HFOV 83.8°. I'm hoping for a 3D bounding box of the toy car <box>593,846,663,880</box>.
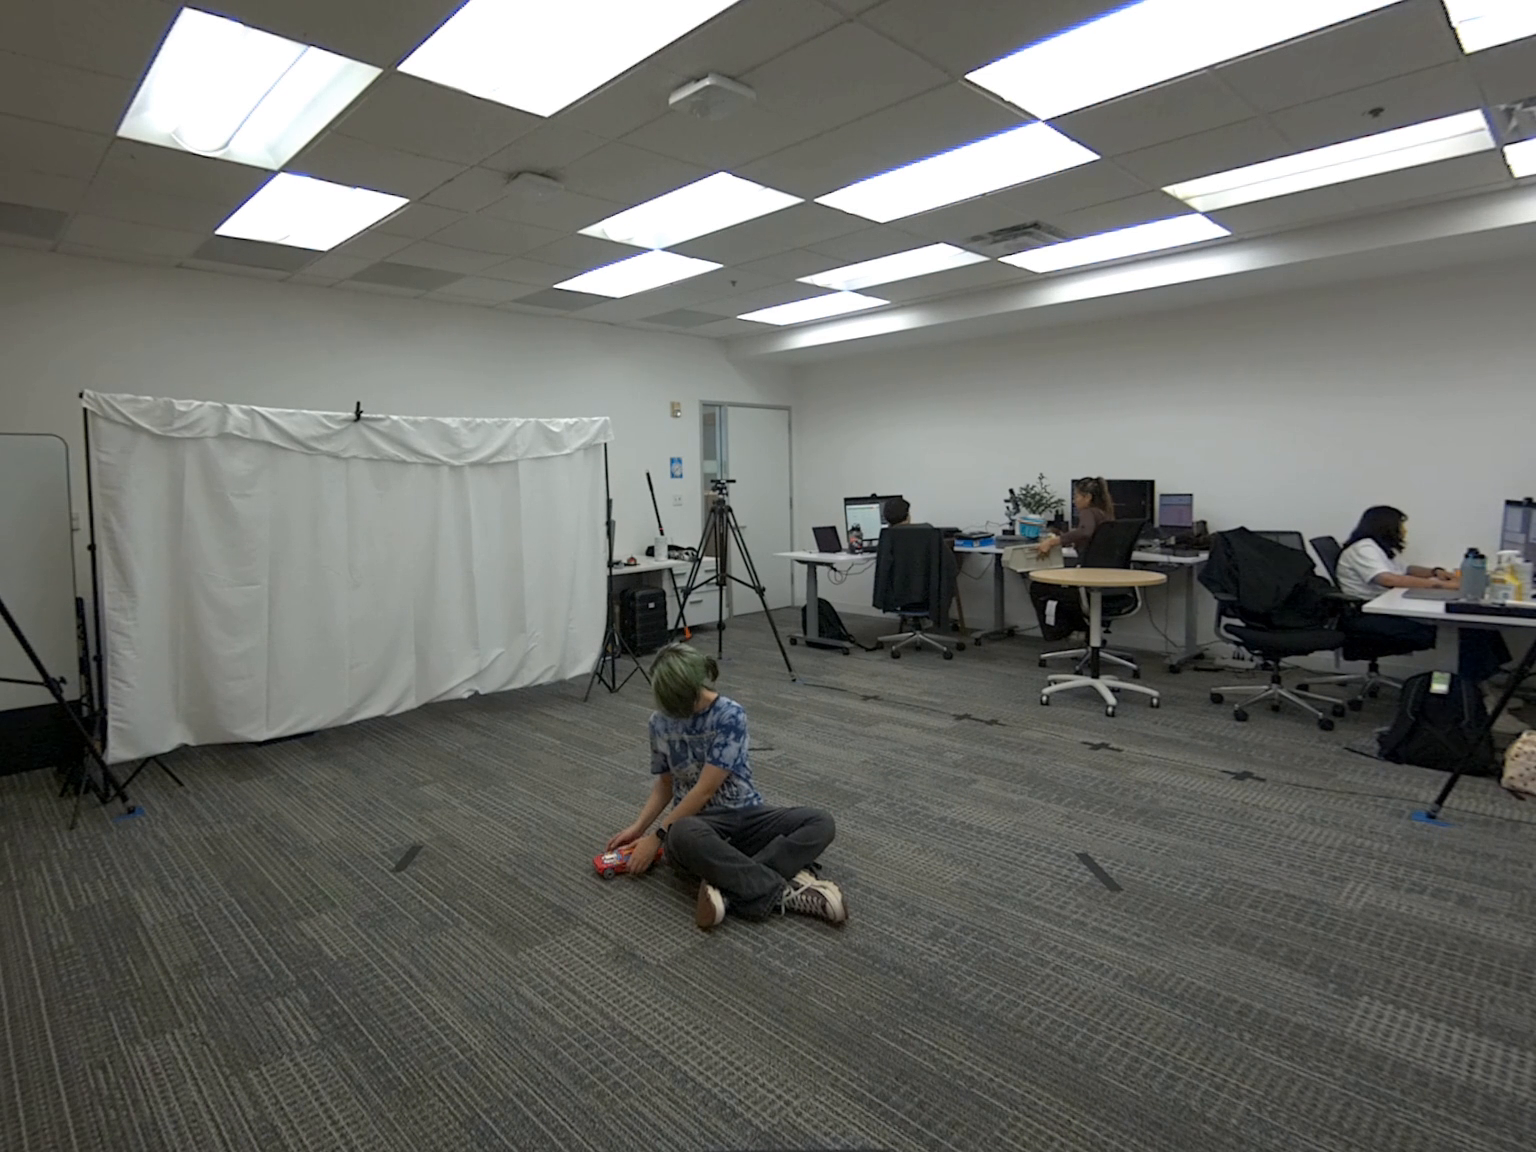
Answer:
[{"bbox_3d":[-0.499,1.025,3.092,0.251,0.082,0.133,-14,10,-22],"label":"toy car"}]
